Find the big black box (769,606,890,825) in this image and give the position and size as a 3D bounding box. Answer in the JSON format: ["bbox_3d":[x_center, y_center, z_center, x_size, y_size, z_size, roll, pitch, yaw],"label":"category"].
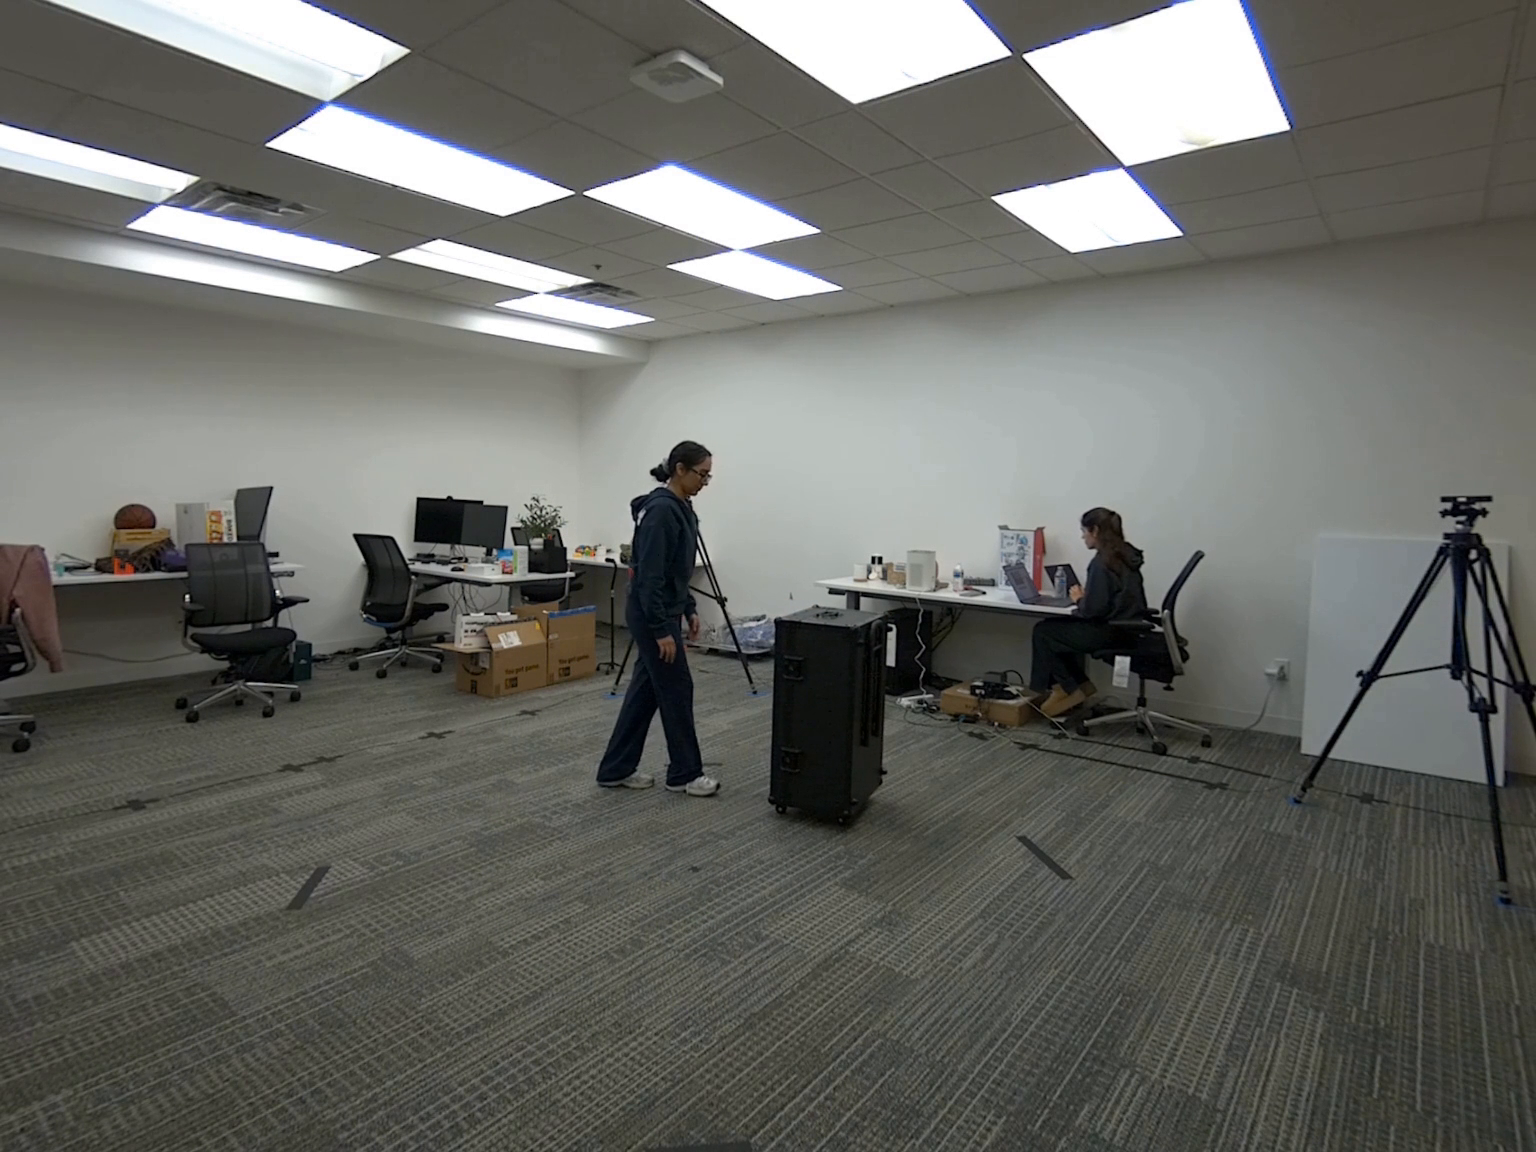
[{"bbox_3d":[0.274,0.591,3.694,0.407,0.858,0.509,5,4,25],"label":"big black box"}]
